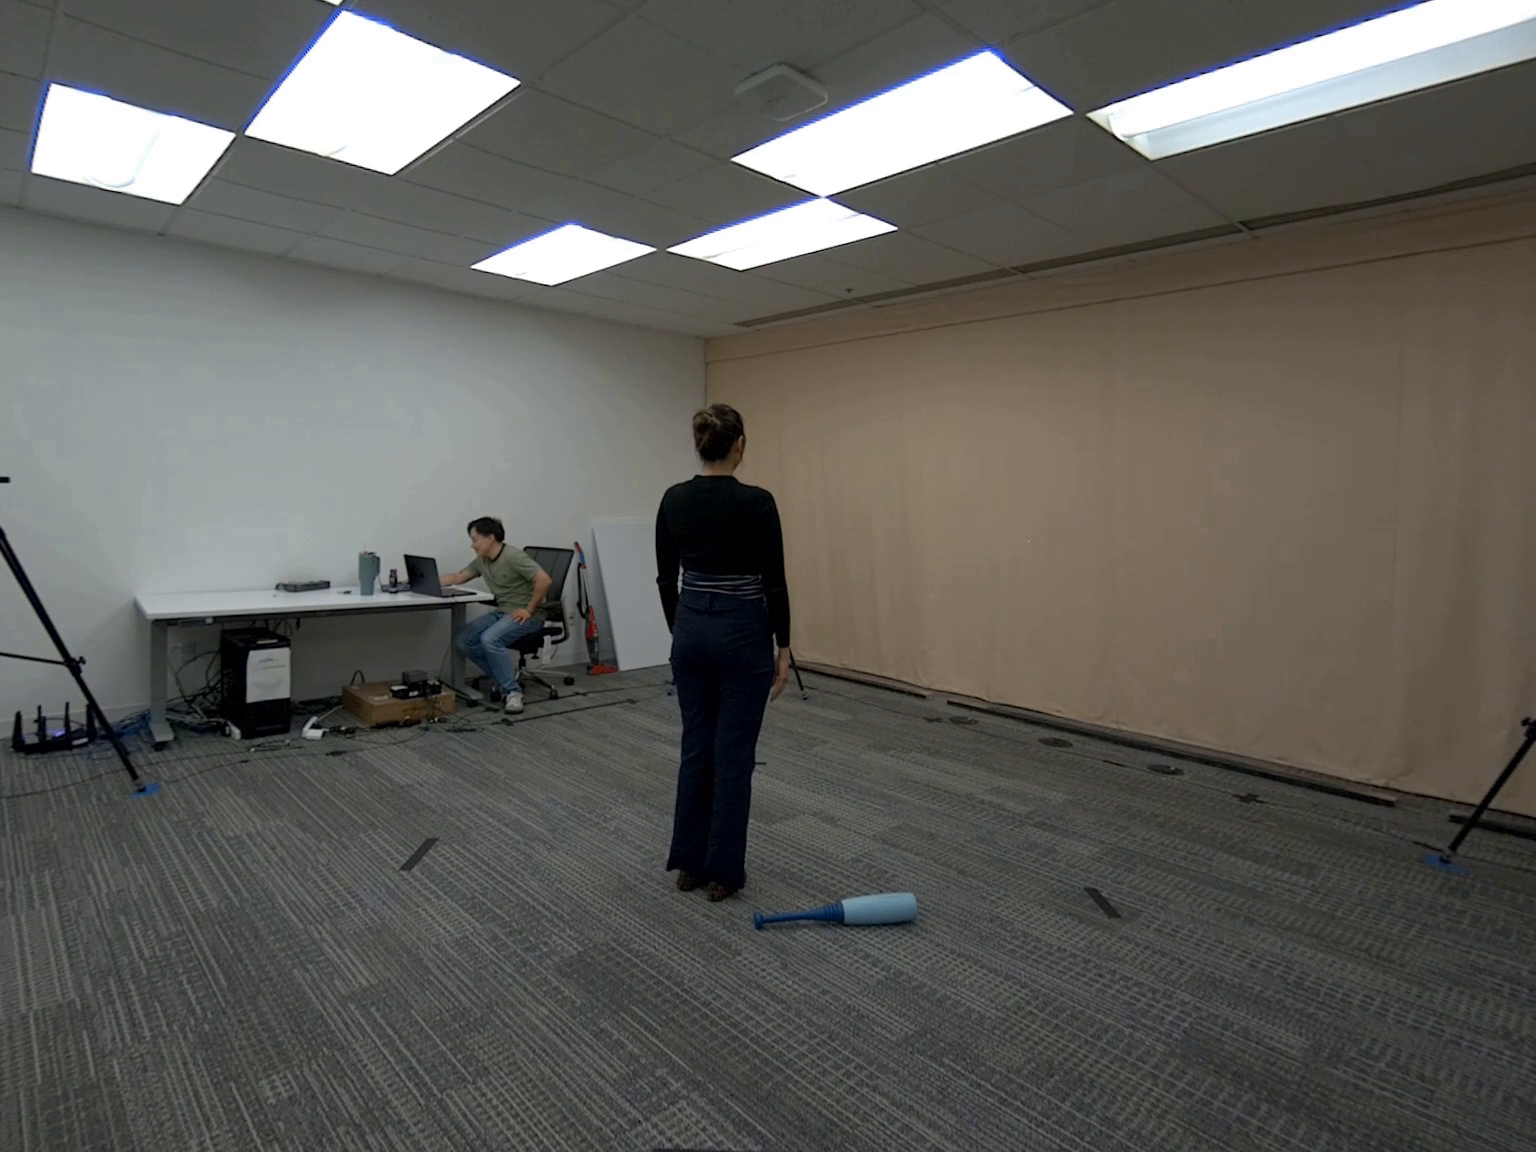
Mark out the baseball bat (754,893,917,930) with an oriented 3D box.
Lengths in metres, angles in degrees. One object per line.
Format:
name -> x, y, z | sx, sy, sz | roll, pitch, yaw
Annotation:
baseball bat -> 0.220, 1.110, 2.754 | 0.540, 0.089, 0.090 | -2, 5, -7
